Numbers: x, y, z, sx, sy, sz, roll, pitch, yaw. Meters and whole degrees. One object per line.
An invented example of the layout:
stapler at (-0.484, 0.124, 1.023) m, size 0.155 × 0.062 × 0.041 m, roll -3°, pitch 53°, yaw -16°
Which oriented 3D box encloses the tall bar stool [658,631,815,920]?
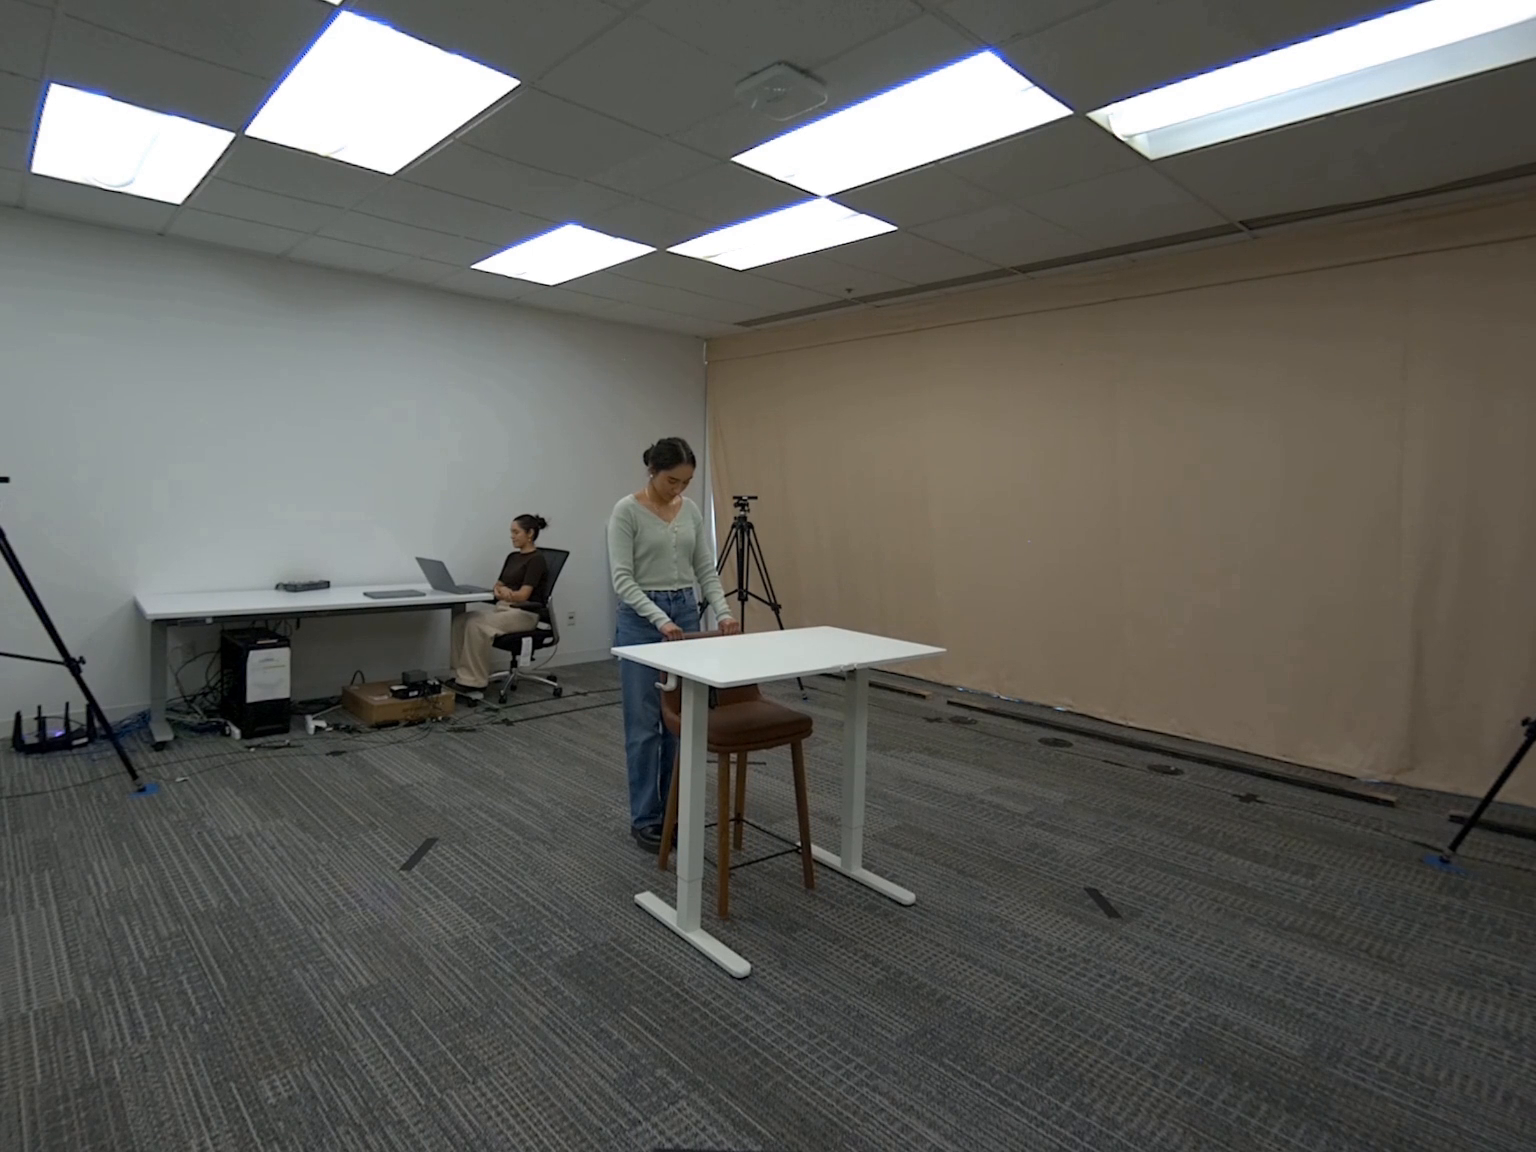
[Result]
tall bar stool at (-0.131, 0.671, 3.055) m, size 0.446 × 0.889 × 0.478 m, roll -2°, pitch 2°, yaw -36°
